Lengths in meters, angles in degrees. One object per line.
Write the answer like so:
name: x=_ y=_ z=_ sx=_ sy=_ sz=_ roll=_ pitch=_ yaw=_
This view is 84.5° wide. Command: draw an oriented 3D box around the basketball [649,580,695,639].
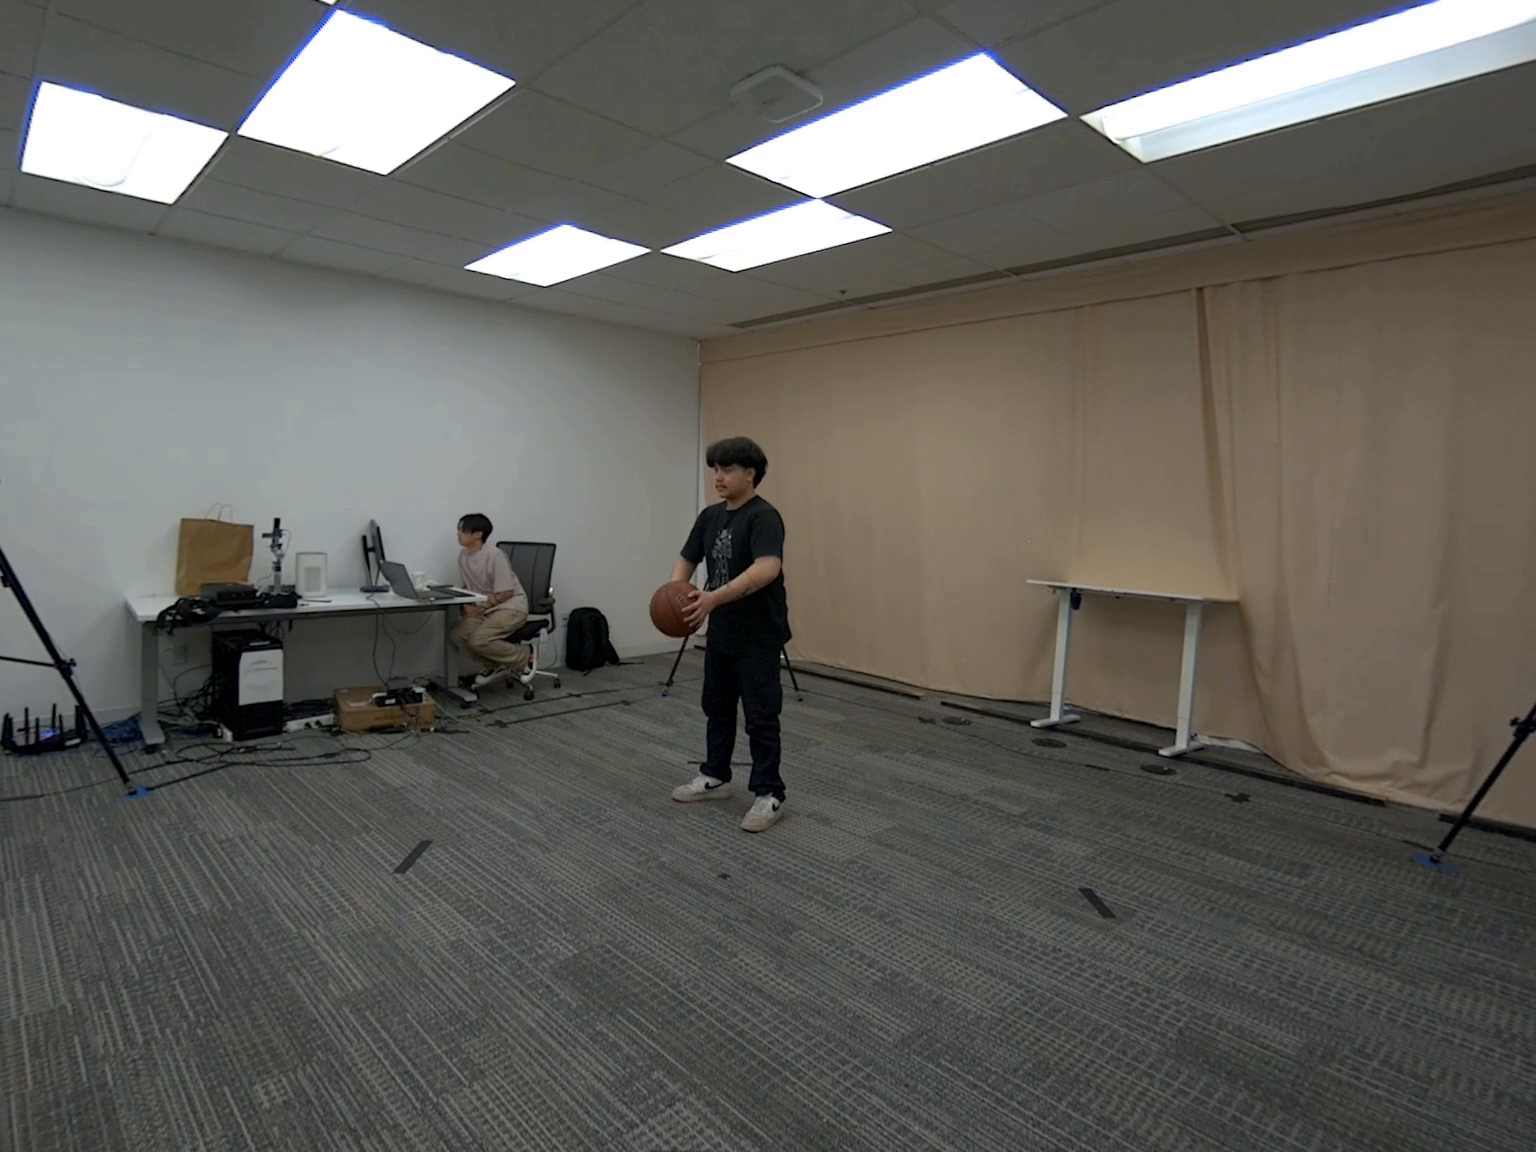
basketball: x=-0.388 y=0.145 z=3.526 sx=0.236 sy=0.235 sz=0.237 roll=1 pitch=4 yaw=-1
